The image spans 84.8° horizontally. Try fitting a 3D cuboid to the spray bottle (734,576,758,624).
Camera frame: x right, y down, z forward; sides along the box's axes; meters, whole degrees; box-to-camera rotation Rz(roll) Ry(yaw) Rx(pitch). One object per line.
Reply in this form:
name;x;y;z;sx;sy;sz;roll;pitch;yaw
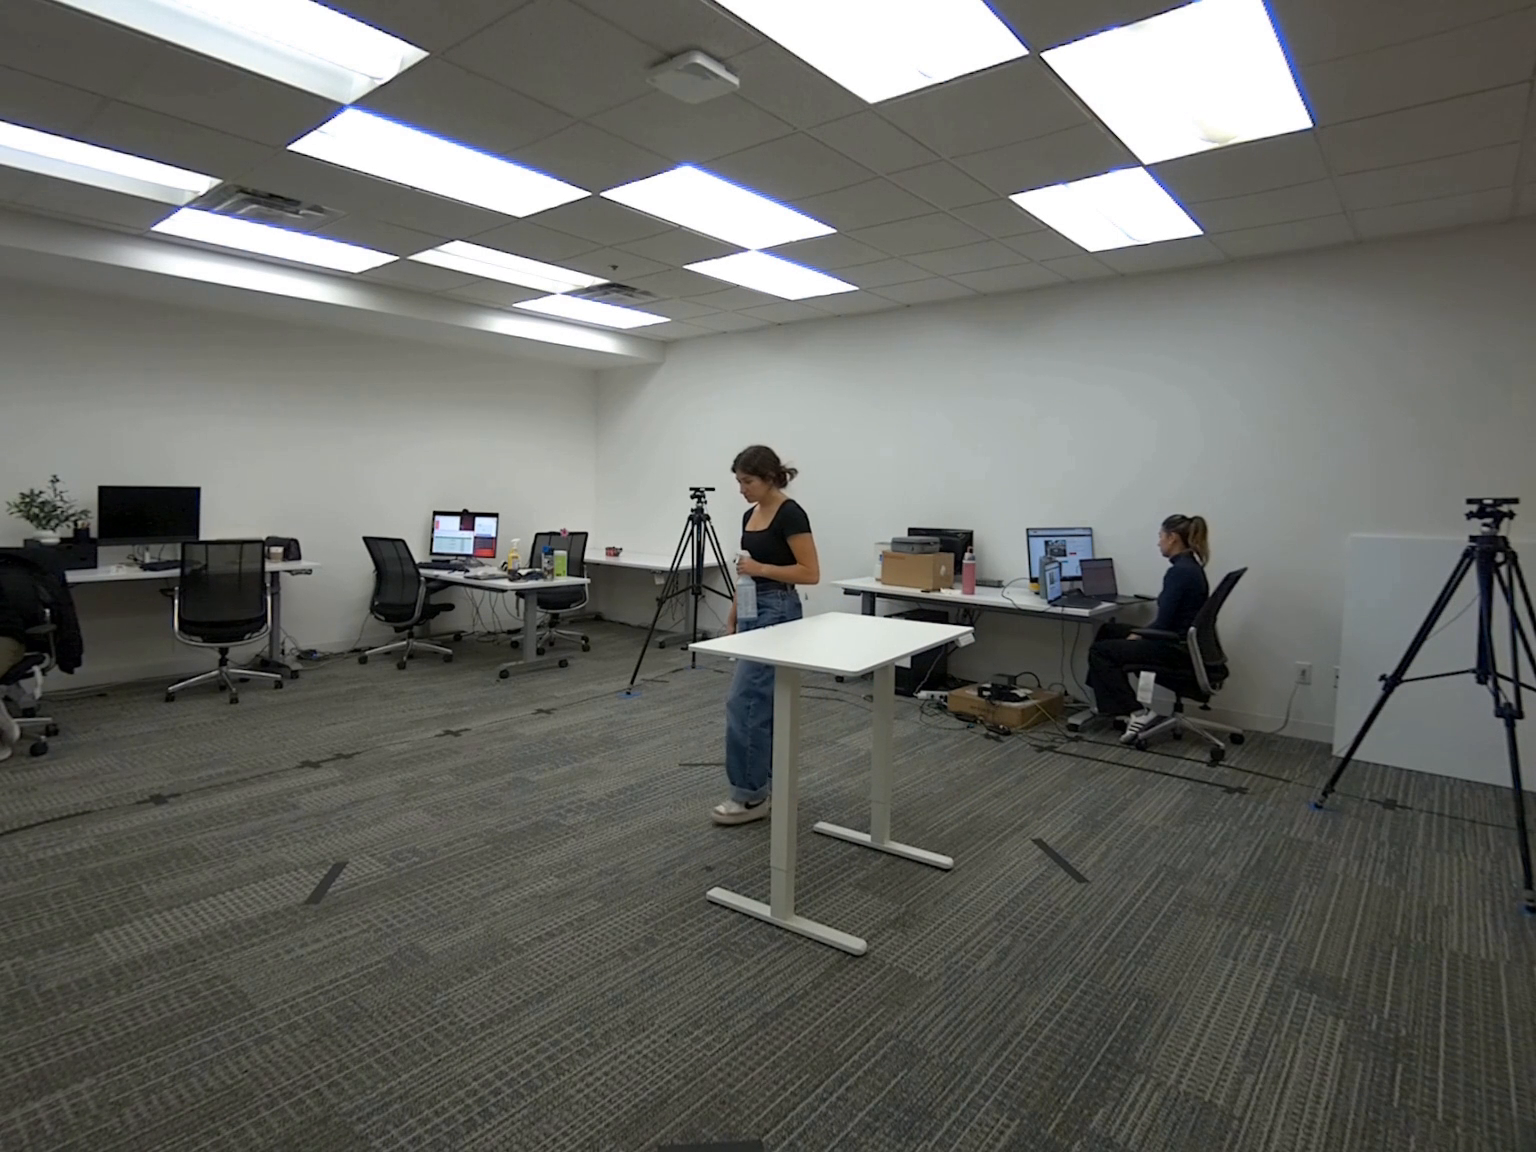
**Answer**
spray bottle;-0.100;0.036;3.578;0.088;0.298;0.088;-5;-2;-21
